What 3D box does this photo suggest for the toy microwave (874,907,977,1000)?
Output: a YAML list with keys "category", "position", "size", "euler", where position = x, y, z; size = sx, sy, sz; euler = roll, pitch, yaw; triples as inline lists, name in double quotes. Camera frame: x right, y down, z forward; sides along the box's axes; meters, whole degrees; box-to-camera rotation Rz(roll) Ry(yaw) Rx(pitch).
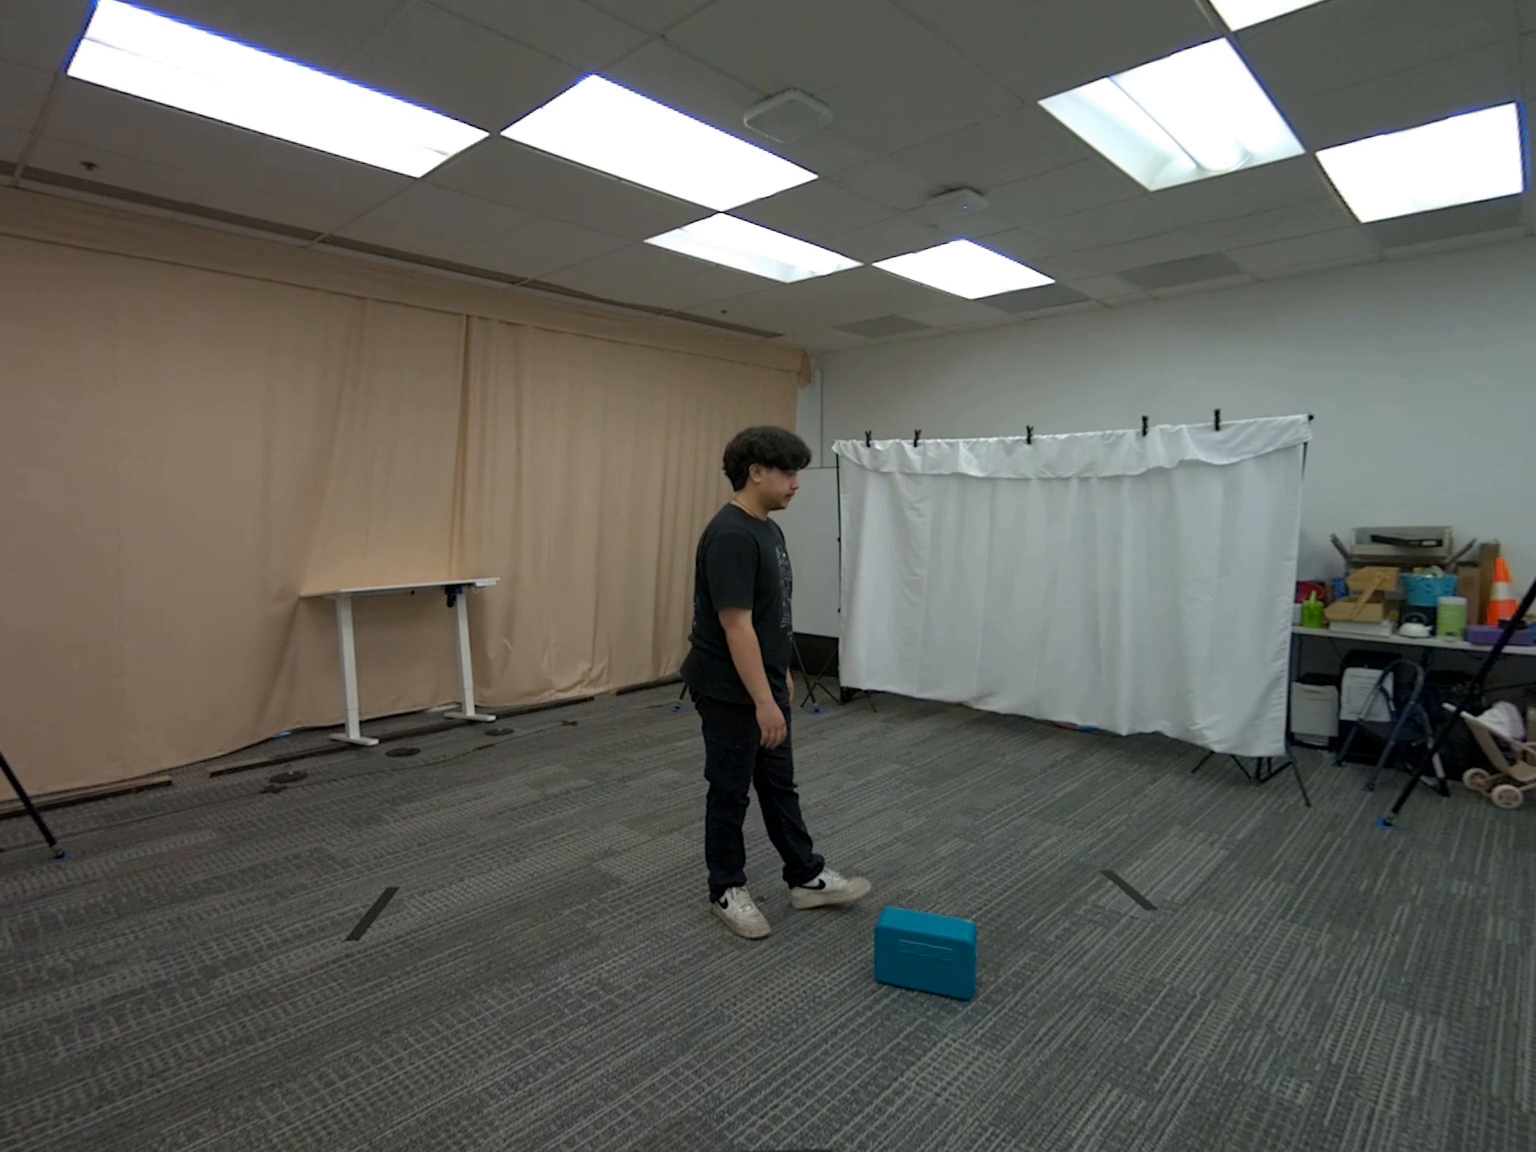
- category: "toy microwave"
  position: [0.467, 1.096, 2.460]
  size: [0.292, 0.184, 0.149]
  euler: [2, 4, 20]
